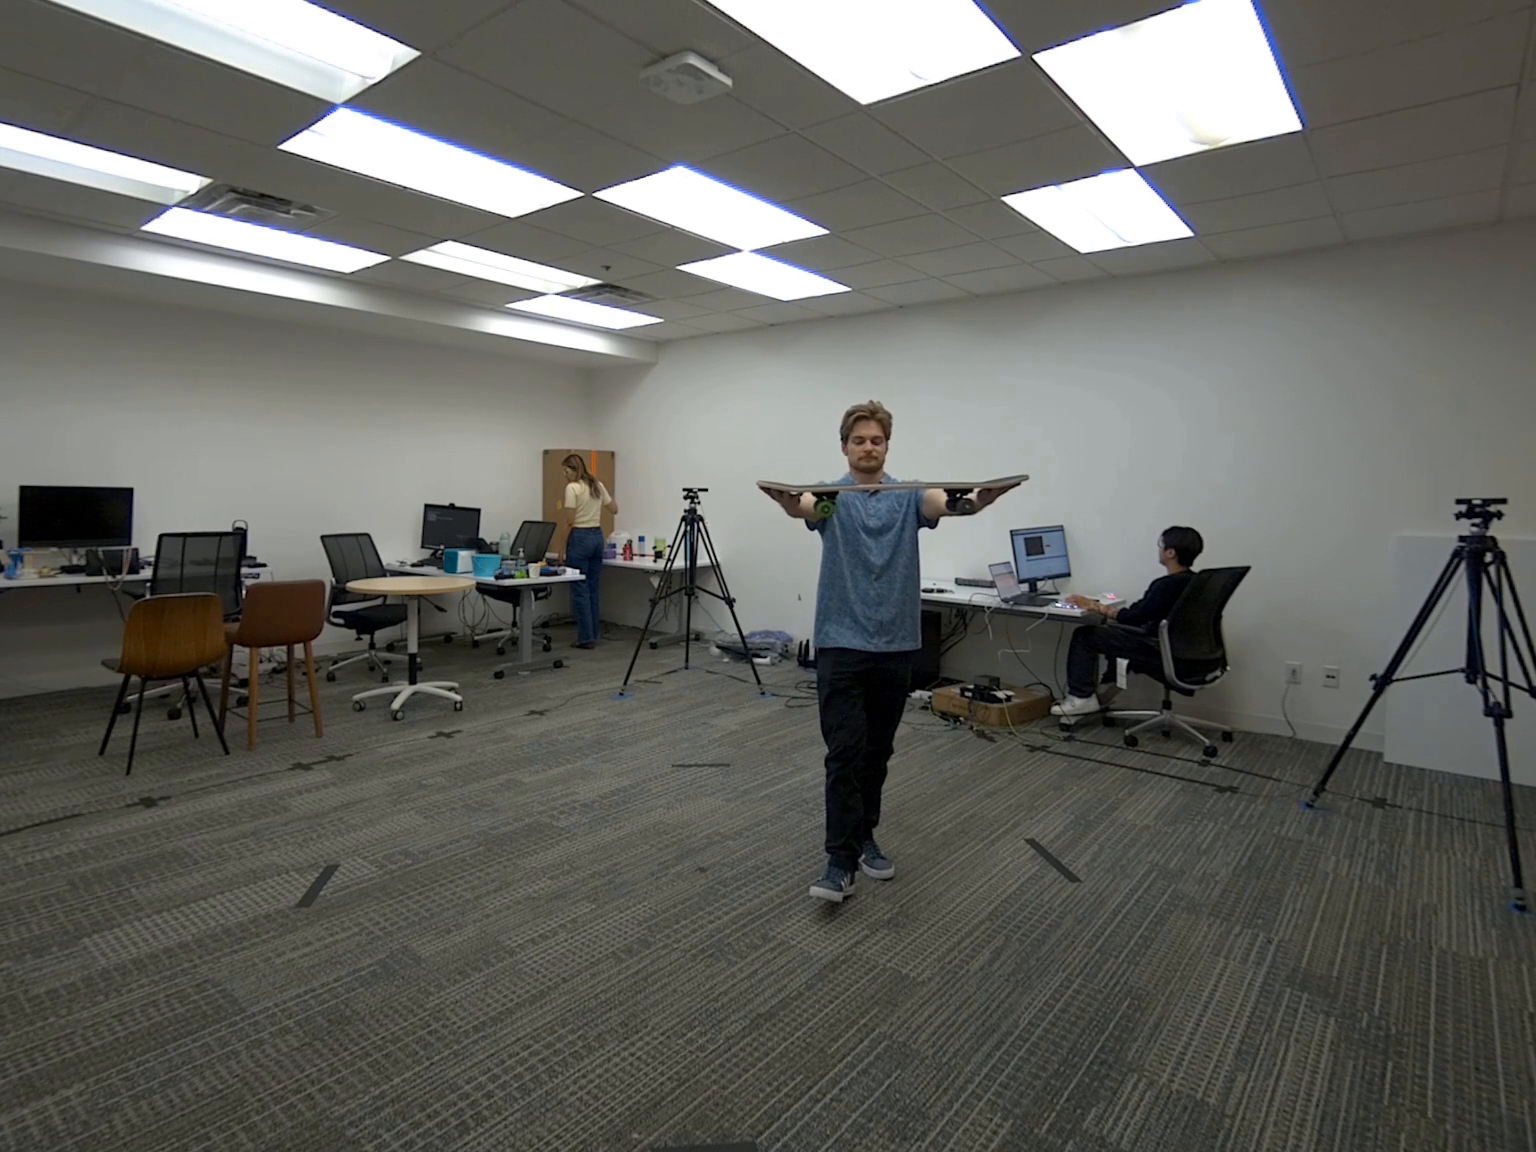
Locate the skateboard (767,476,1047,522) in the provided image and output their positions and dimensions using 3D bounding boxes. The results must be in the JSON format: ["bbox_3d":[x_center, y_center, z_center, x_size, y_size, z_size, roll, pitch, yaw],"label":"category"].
[{"bbox_3d":[0.393,-0.233,2.507,0.787,0.109,0.194,1,8,2],"label":"skateboard"}]
